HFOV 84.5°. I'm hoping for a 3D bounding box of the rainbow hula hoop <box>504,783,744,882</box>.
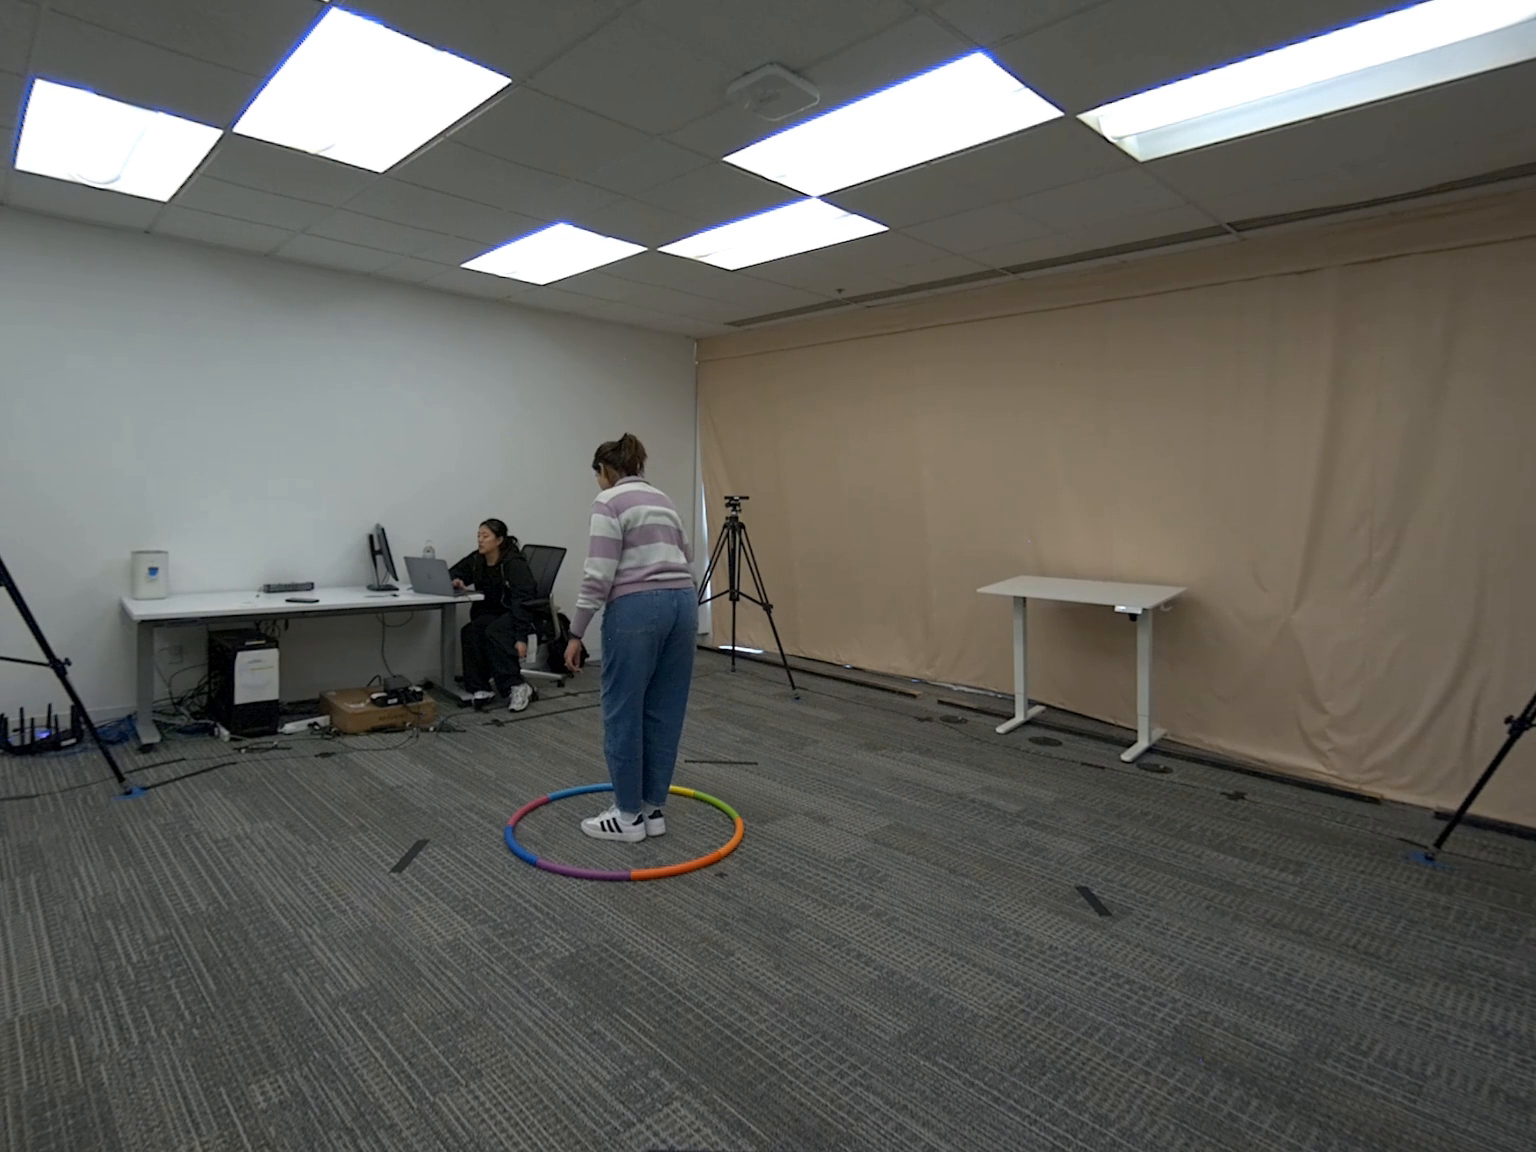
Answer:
[{"bbox_3d":[-0.596,1.028,3.515,0.978,0.035,0.982,1,5,-1],"label":"rainbow hula hoop"}]
